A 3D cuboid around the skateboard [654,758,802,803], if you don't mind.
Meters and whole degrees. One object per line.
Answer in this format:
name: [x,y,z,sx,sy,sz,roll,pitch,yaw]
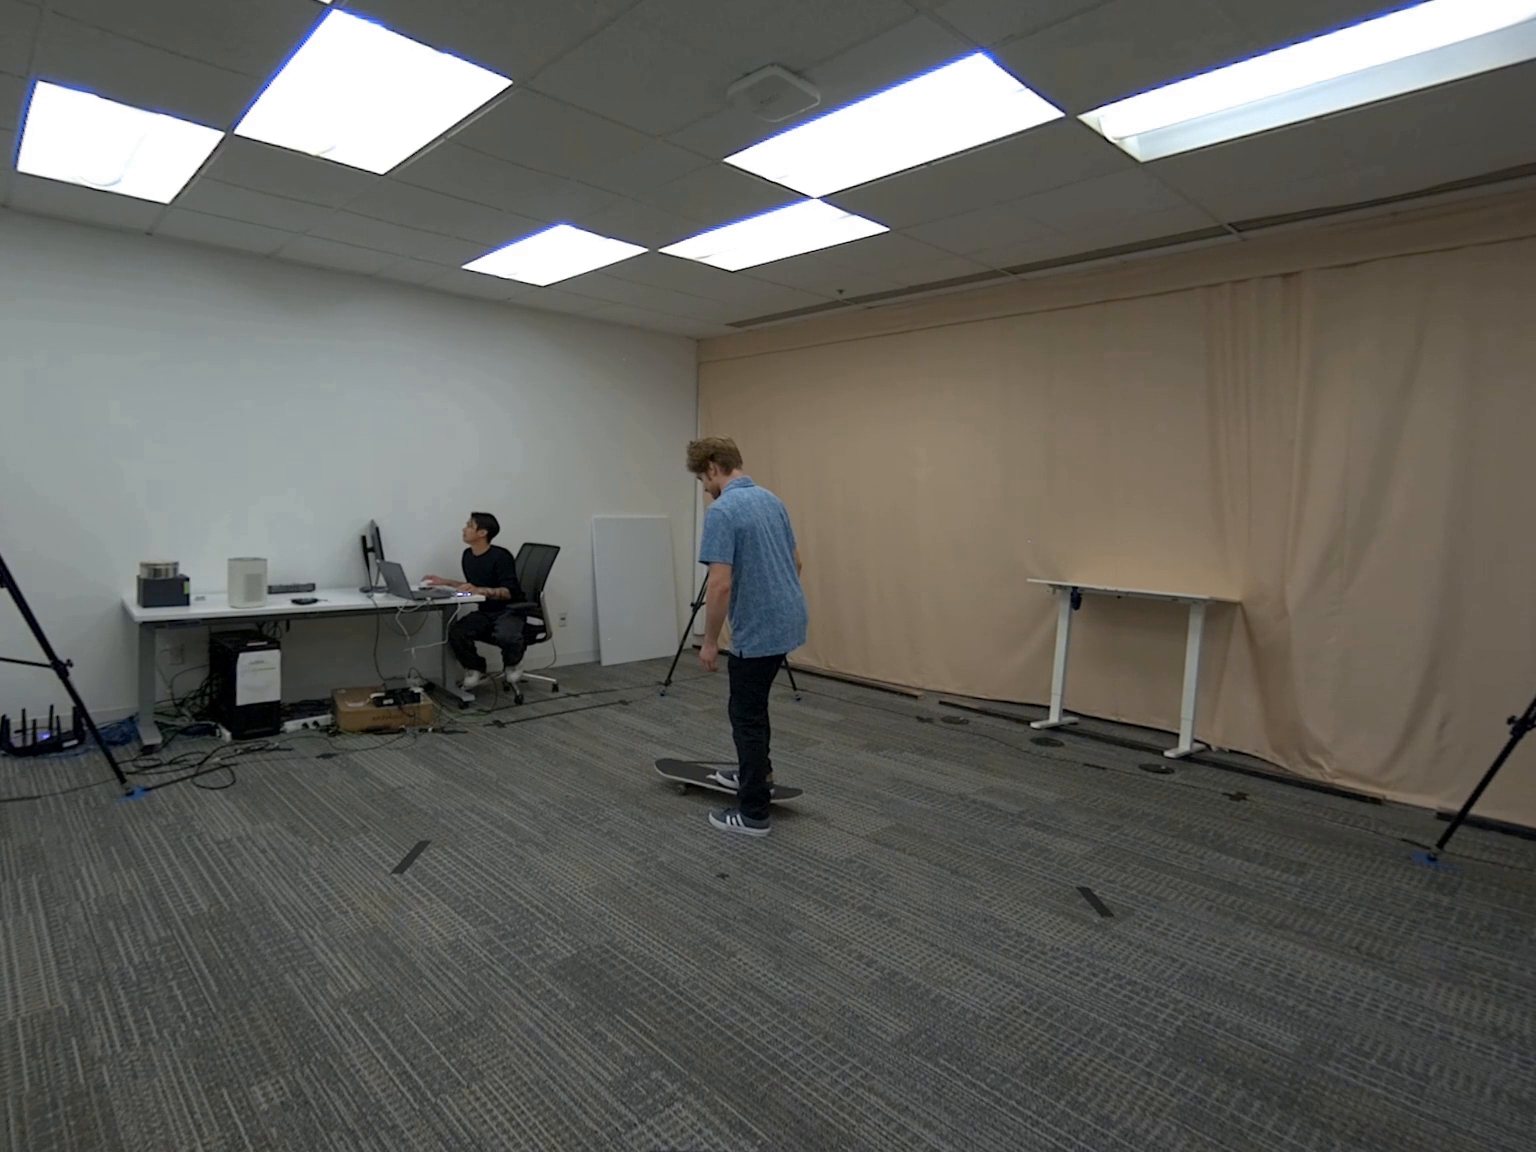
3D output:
skateboard: [-0.205,0.976,3.902,0.803,0.110,0.190,5,7,32]
